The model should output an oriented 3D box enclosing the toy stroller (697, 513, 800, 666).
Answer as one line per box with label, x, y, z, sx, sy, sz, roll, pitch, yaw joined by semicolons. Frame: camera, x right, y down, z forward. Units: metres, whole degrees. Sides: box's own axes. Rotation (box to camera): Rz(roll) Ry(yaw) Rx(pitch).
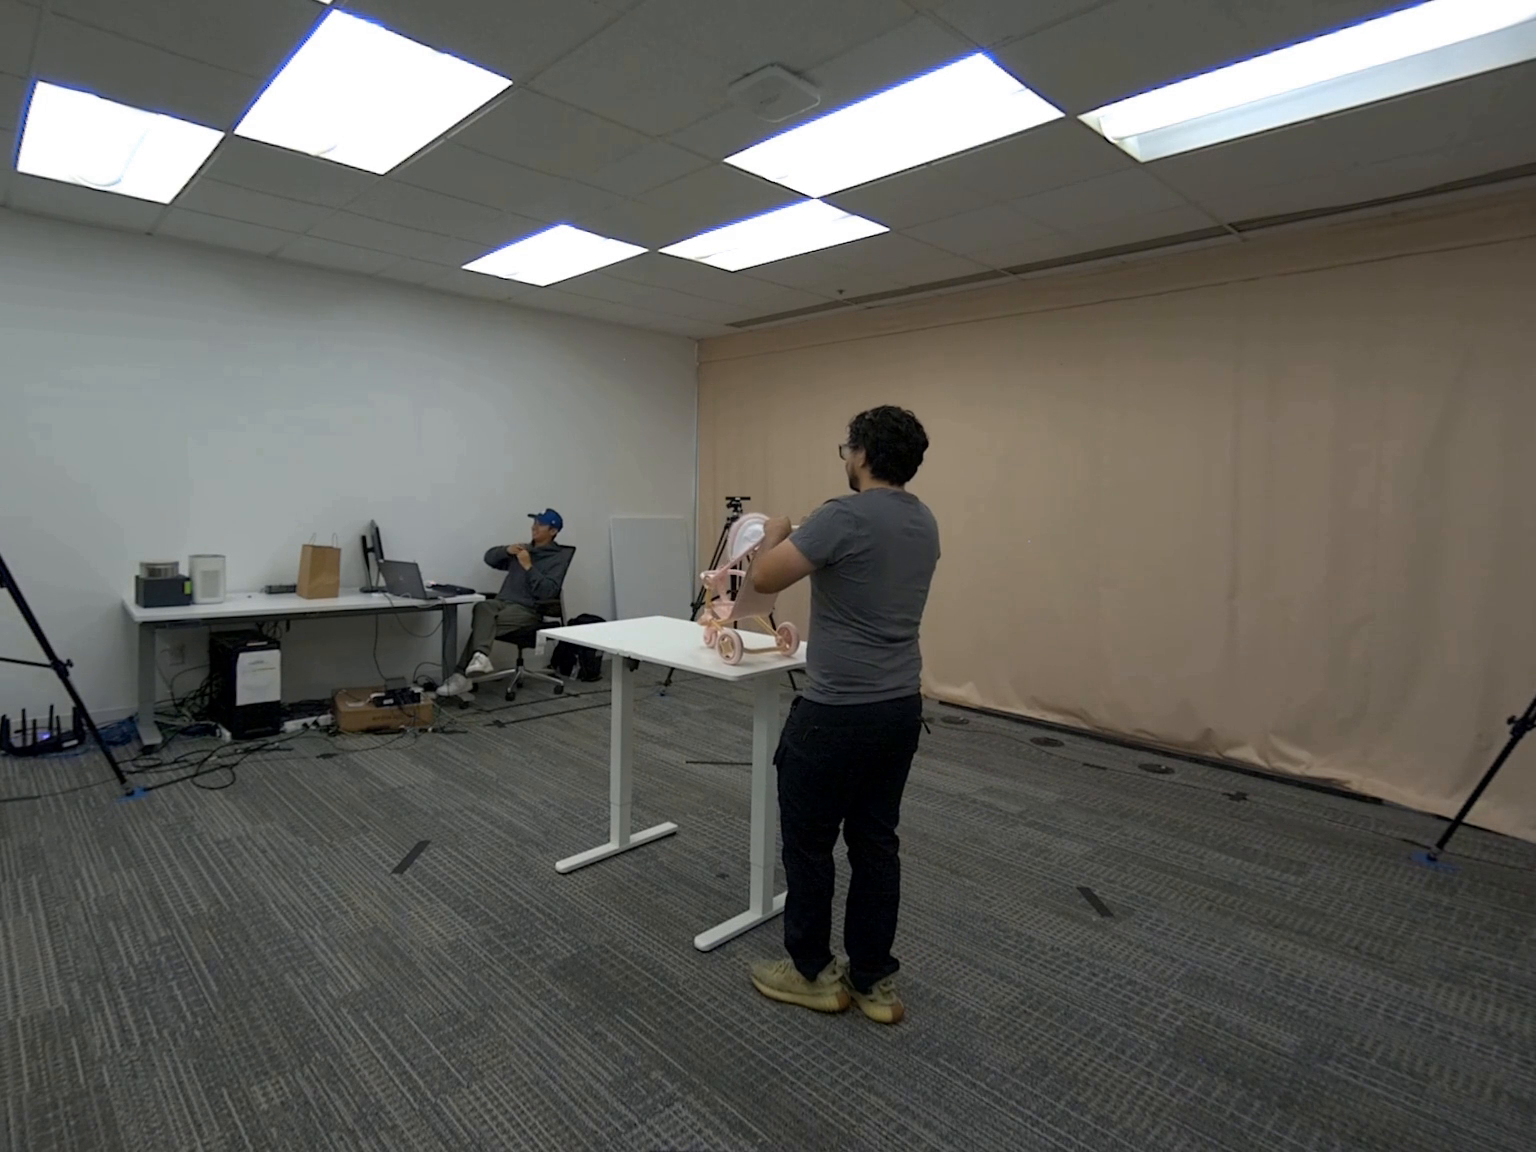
toy stroller;-0.071;0.038;2.706;0.275;0.530;0.352;-1;20;-38
